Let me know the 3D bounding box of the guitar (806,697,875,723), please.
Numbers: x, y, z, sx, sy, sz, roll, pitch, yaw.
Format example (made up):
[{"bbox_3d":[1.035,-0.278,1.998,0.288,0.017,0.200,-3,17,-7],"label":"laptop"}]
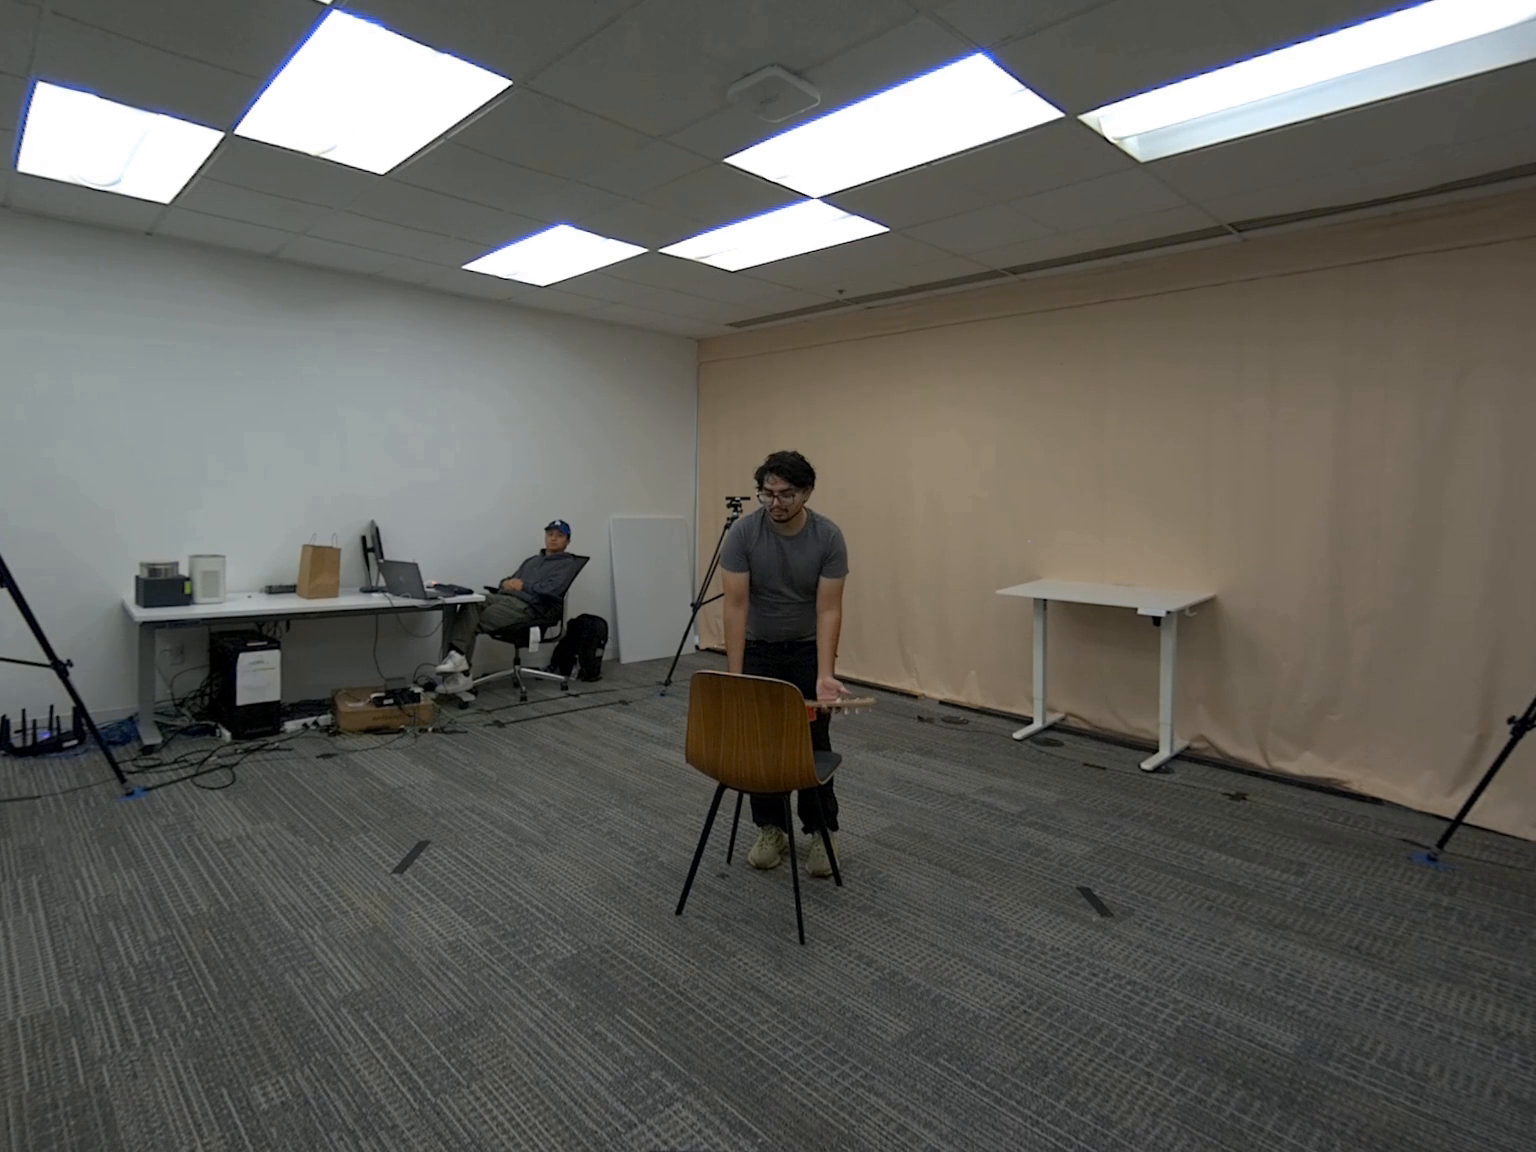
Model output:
[{"bbox_3d":[0.112,0.482,2.937,0.507,0.070,0.189,-6,2,34],"label":"guitar"}]
